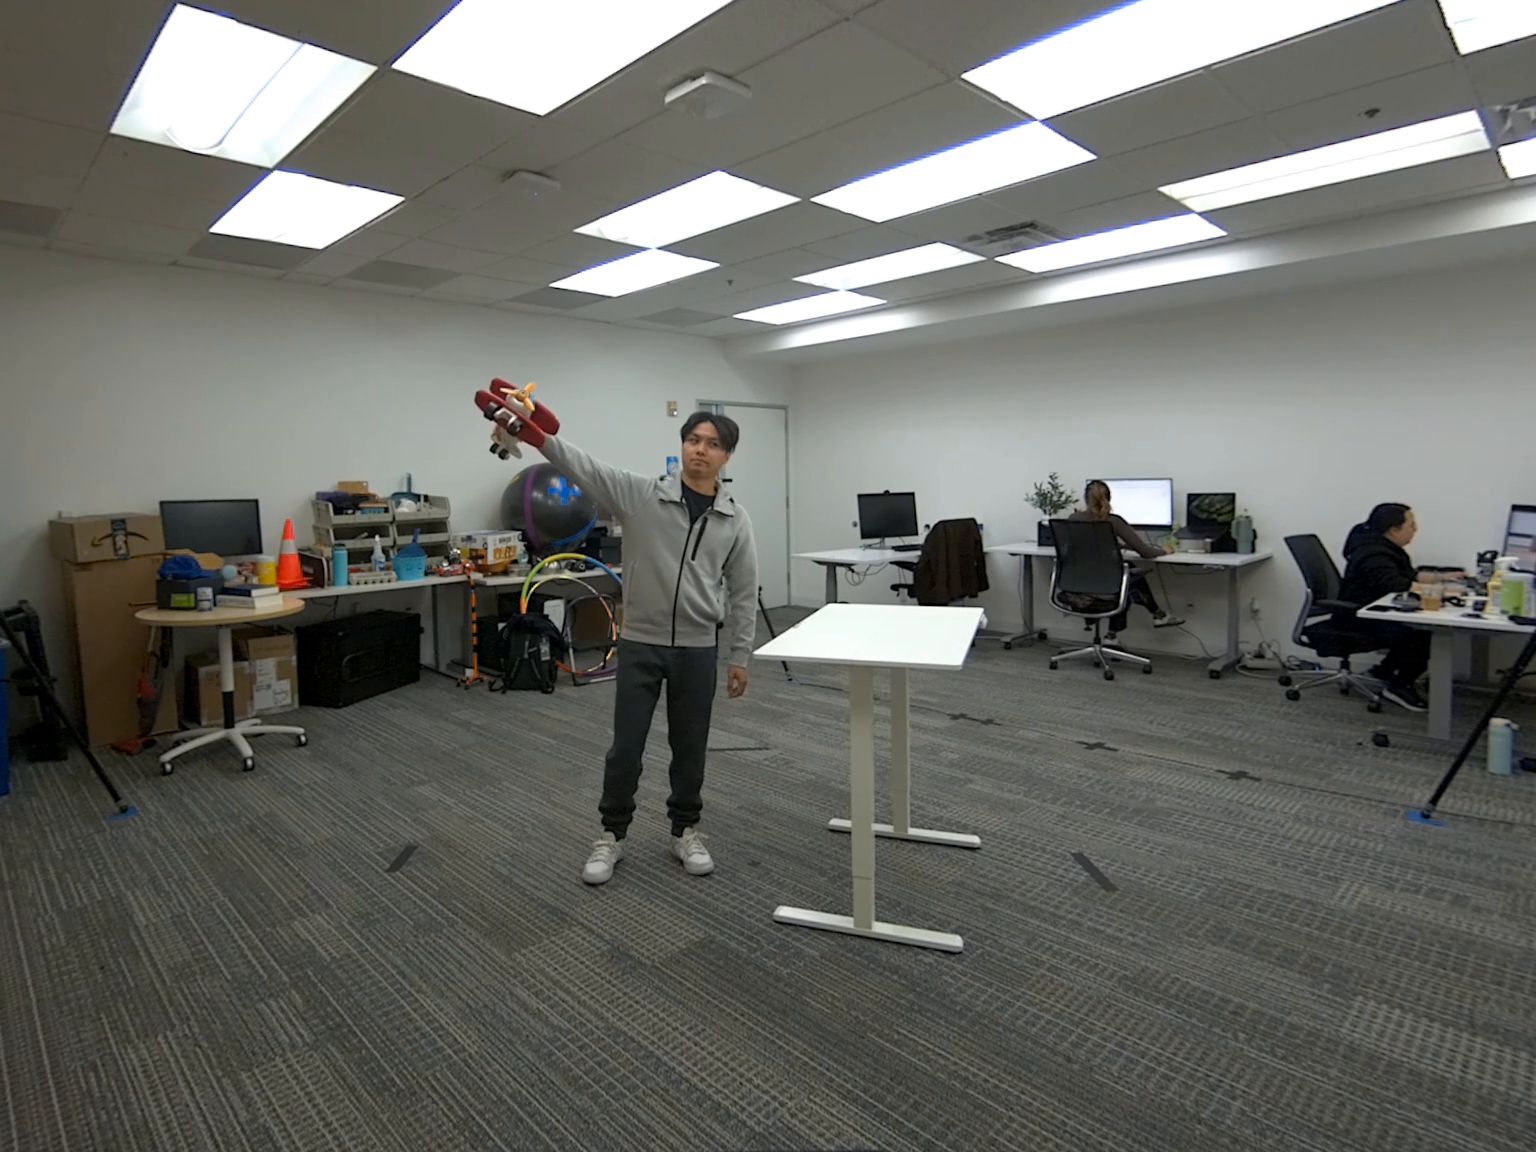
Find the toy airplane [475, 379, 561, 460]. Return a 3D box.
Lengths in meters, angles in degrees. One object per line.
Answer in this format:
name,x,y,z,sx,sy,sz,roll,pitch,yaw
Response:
toy airplane,-0.803,-0.482,2.640,0.266,0.244,0.157,-6,40,51
